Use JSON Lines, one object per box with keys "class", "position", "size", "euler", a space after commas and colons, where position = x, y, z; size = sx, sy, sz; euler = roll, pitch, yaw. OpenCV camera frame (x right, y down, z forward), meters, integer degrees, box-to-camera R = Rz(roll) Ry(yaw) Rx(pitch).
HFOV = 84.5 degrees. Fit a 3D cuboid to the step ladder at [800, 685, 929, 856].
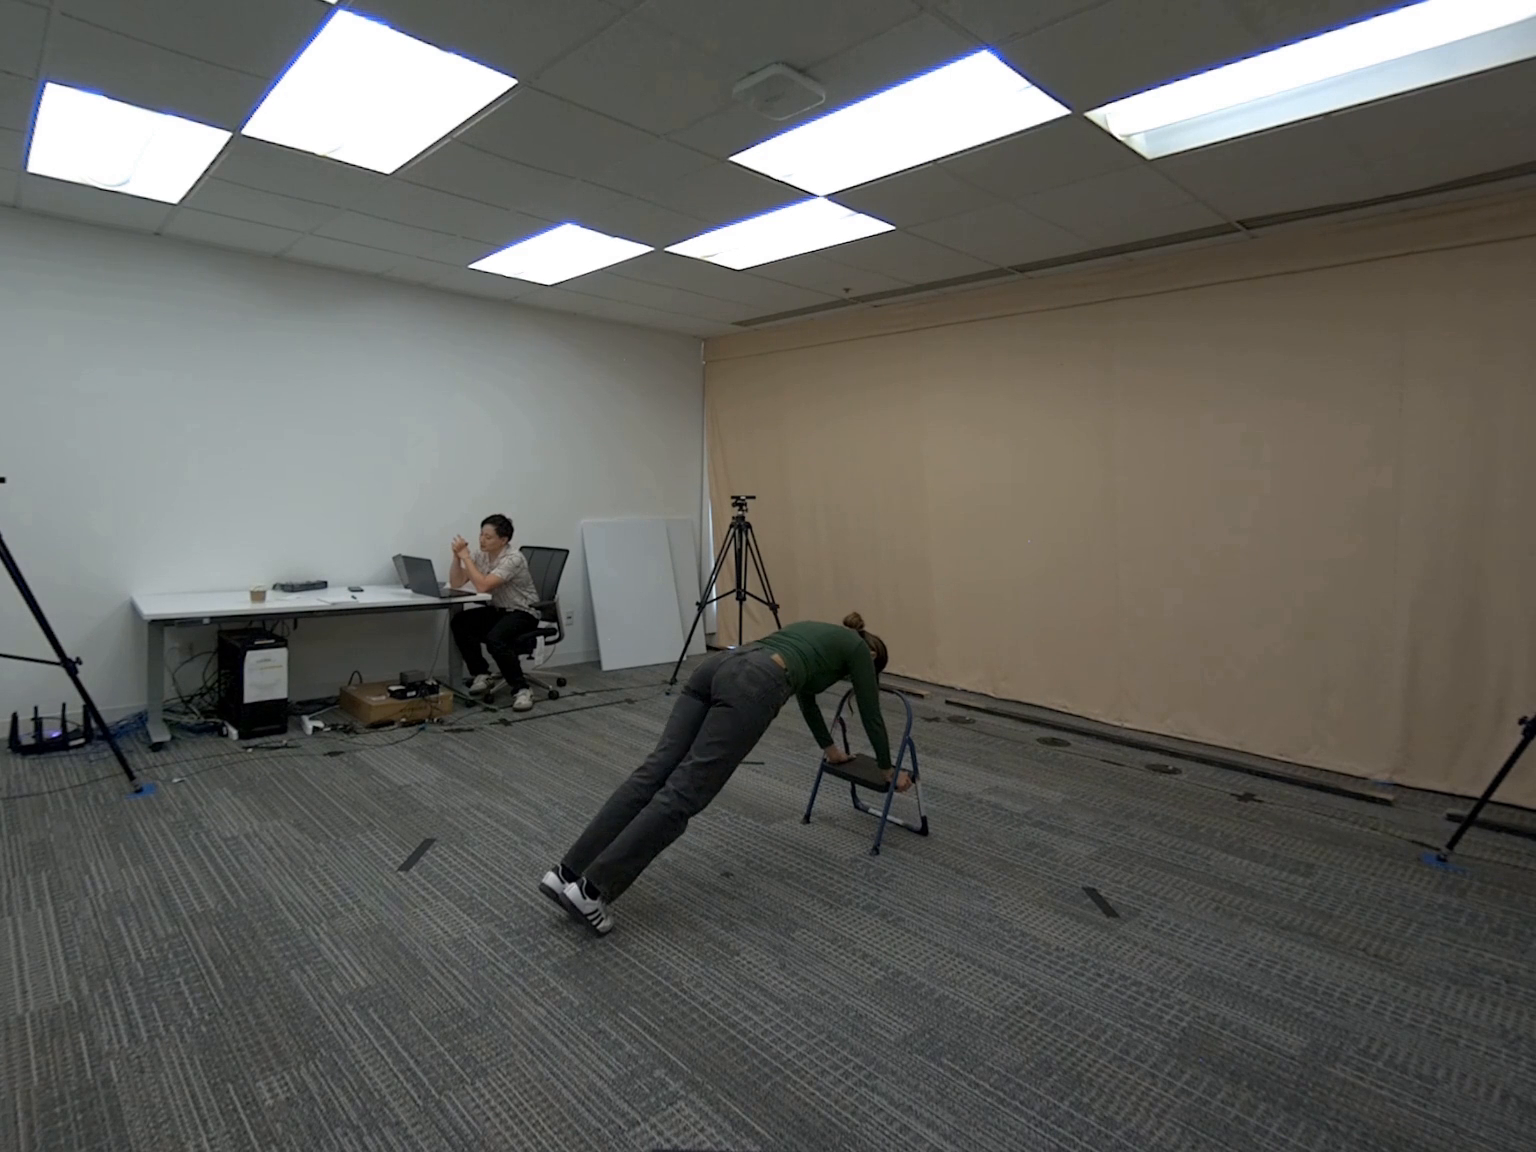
{"class": "step ladder", "position": [0.409, 0.775, 3.556], "size": [0.341, 0.605, 0.441], "euler": [-1, 4, -40]}
